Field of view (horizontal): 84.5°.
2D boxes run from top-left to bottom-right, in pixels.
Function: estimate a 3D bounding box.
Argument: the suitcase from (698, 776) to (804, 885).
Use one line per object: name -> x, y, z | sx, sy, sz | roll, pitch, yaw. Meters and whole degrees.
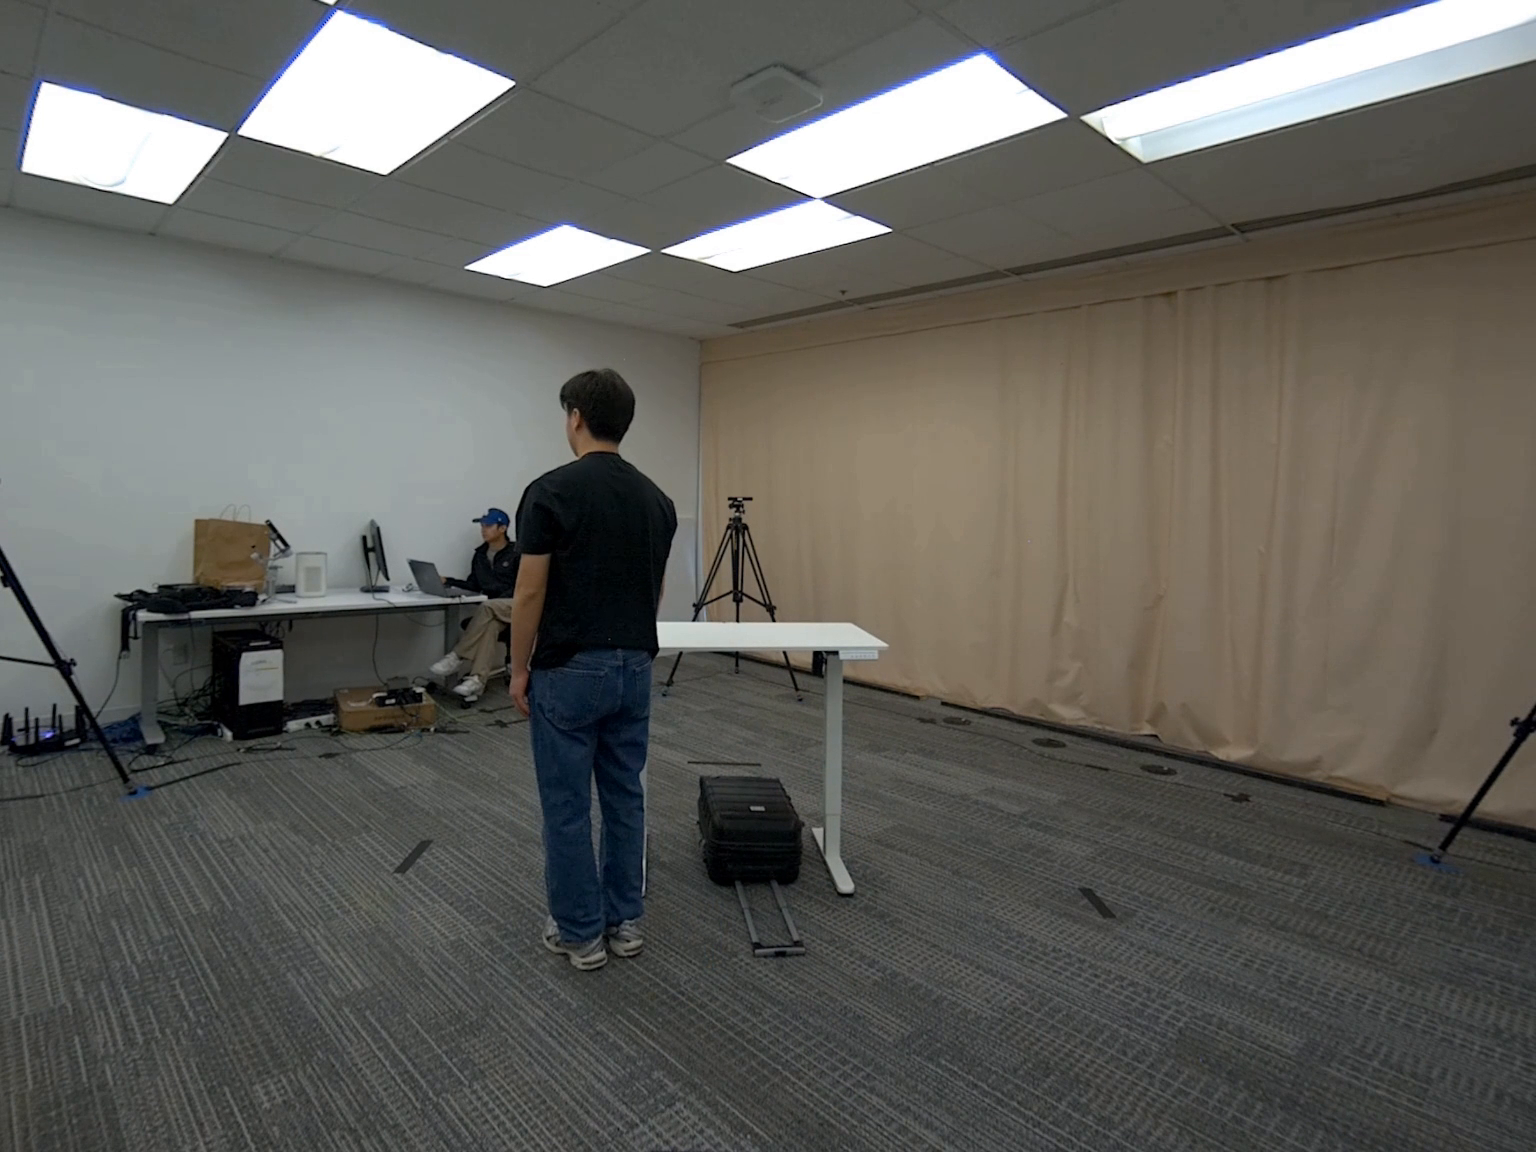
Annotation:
suitcase -> -0.054, 0.985, 3.044 | 0.381, 0.256, 0.988 | 2, 4, -9
